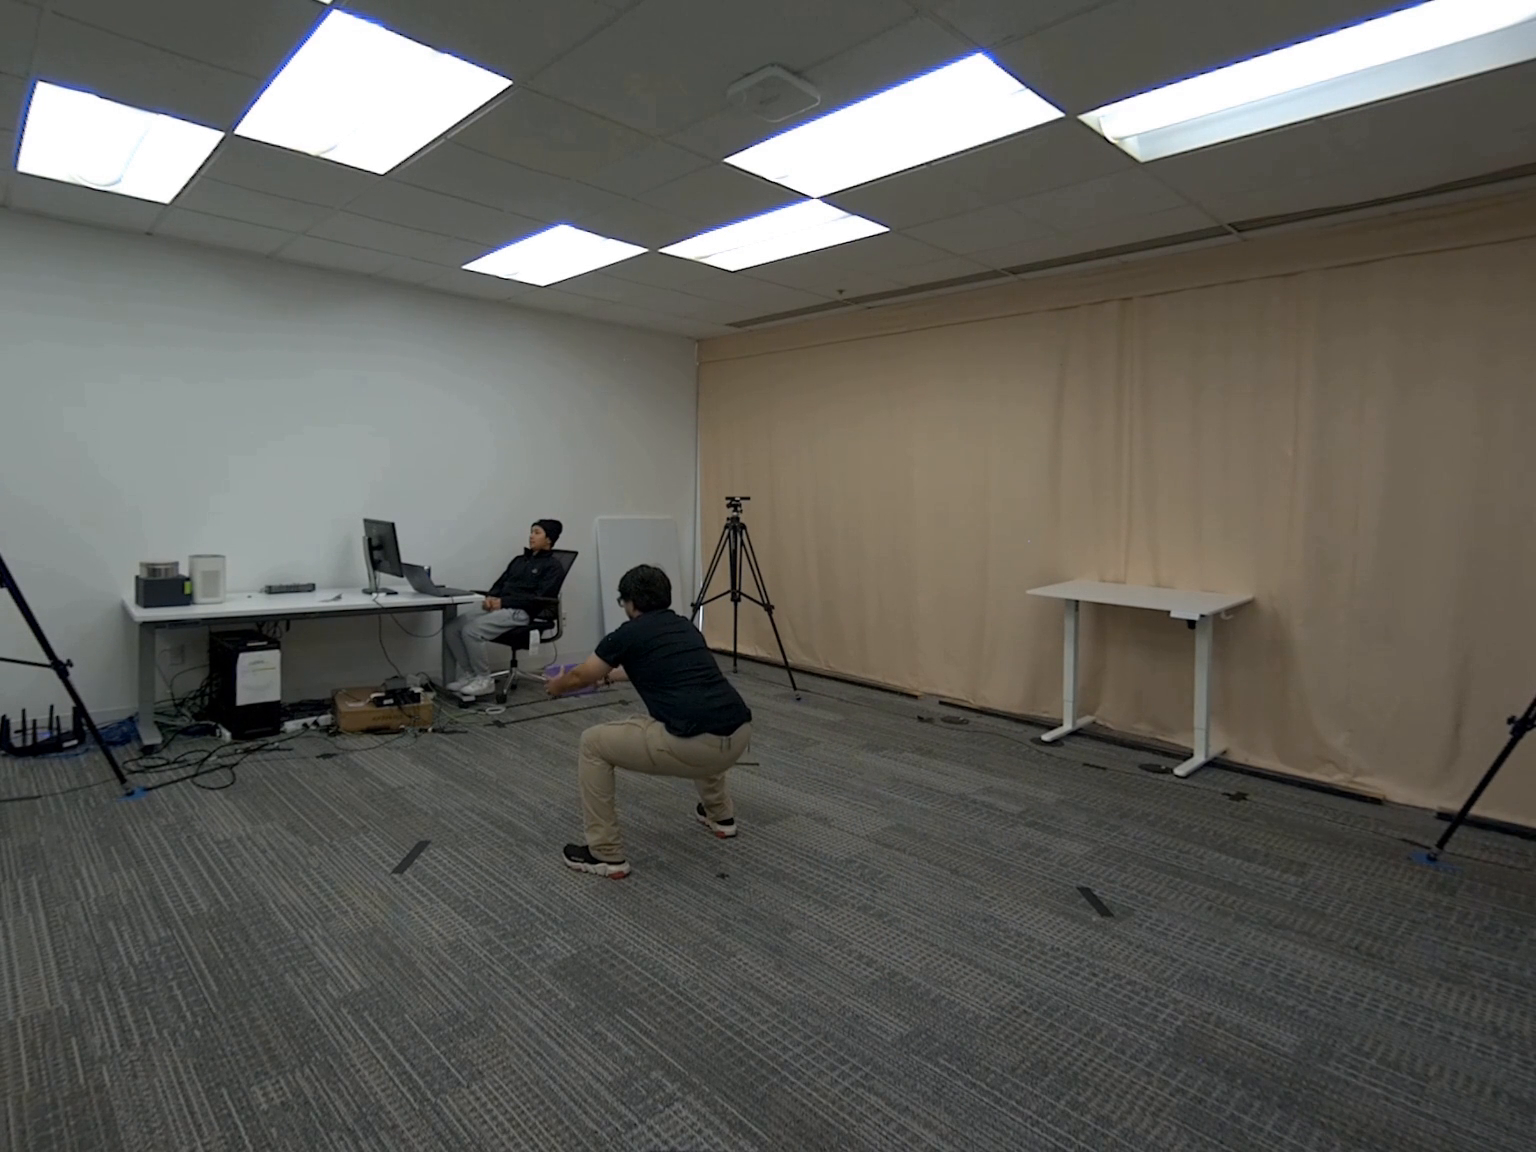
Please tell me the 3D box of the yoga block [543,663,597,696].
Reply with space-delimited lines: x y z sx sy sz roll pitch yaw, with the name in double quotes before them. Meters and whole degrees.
"yoga block" -0.885 0.476 3.801 0.077 0.150 0.224 -17 -9 35
